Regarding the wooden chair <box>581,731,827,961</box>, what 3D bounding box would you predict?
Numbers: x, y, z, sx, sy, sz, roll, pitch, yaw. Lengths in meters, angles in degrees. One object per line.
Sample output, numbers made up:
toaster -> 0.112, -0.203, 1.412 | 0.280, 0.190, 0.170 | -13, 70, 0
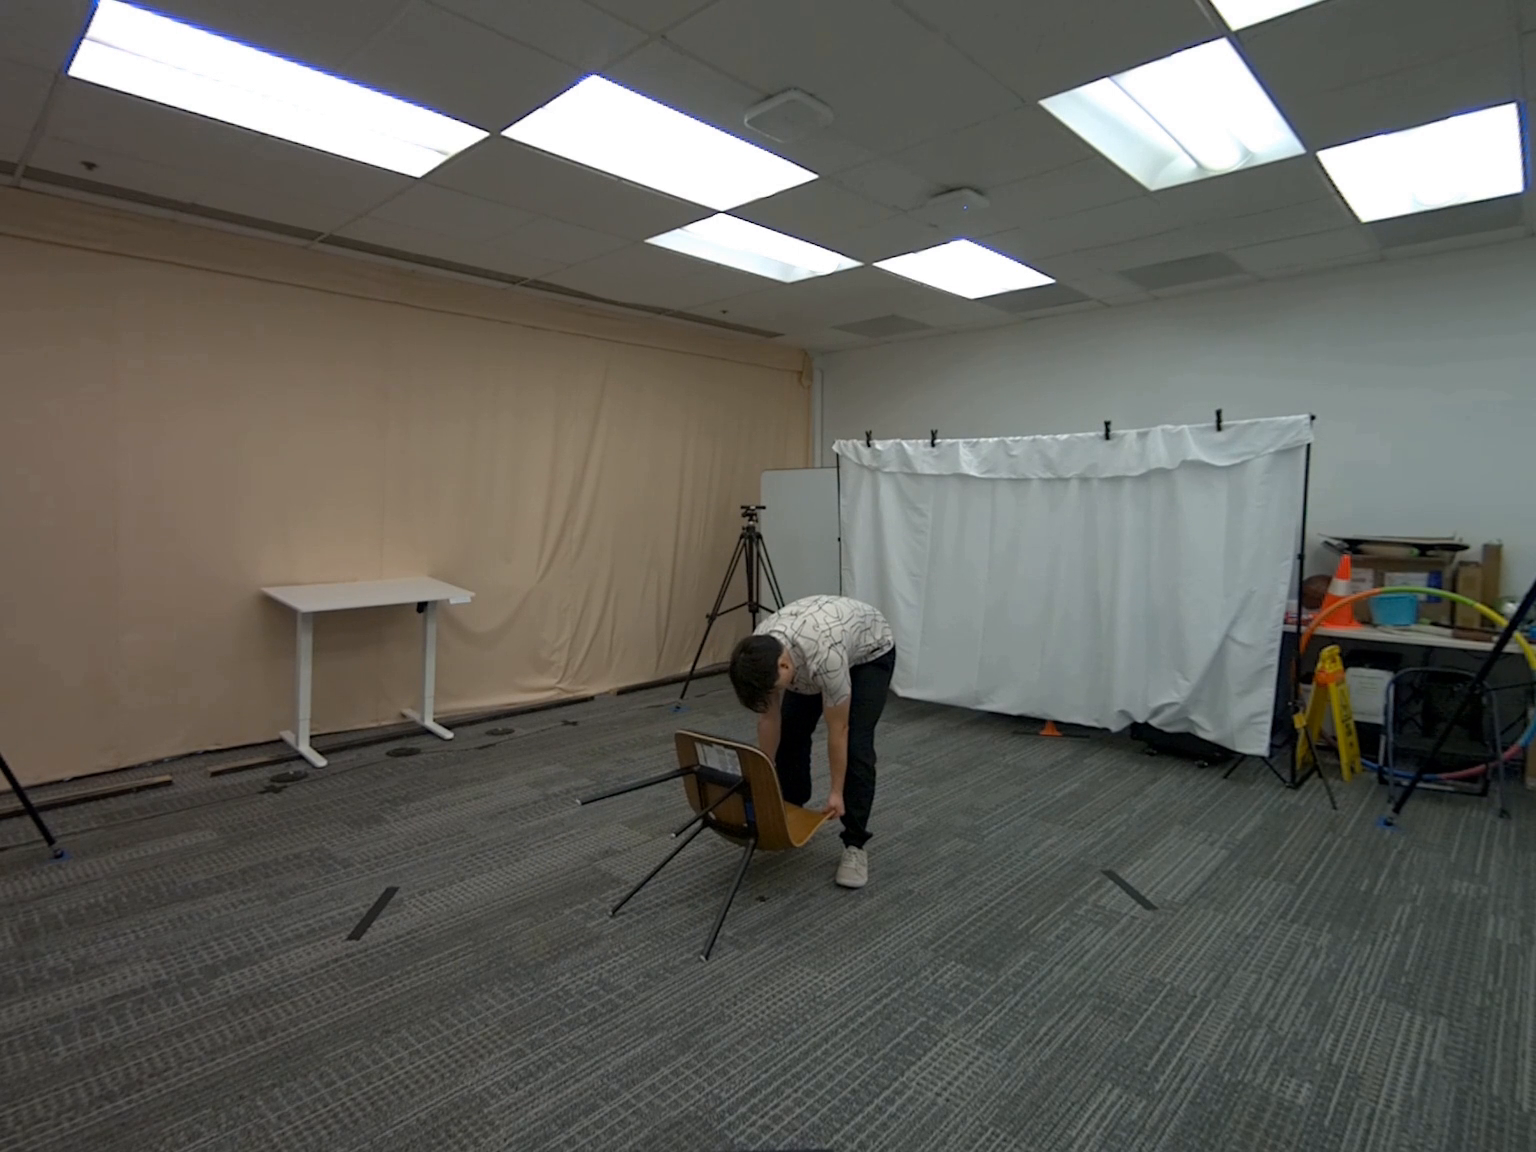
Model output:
wooden chair -> -0.140, 0.793, 2.964 | 0.494, 0.518, 0.857 | 3, 18, 41
